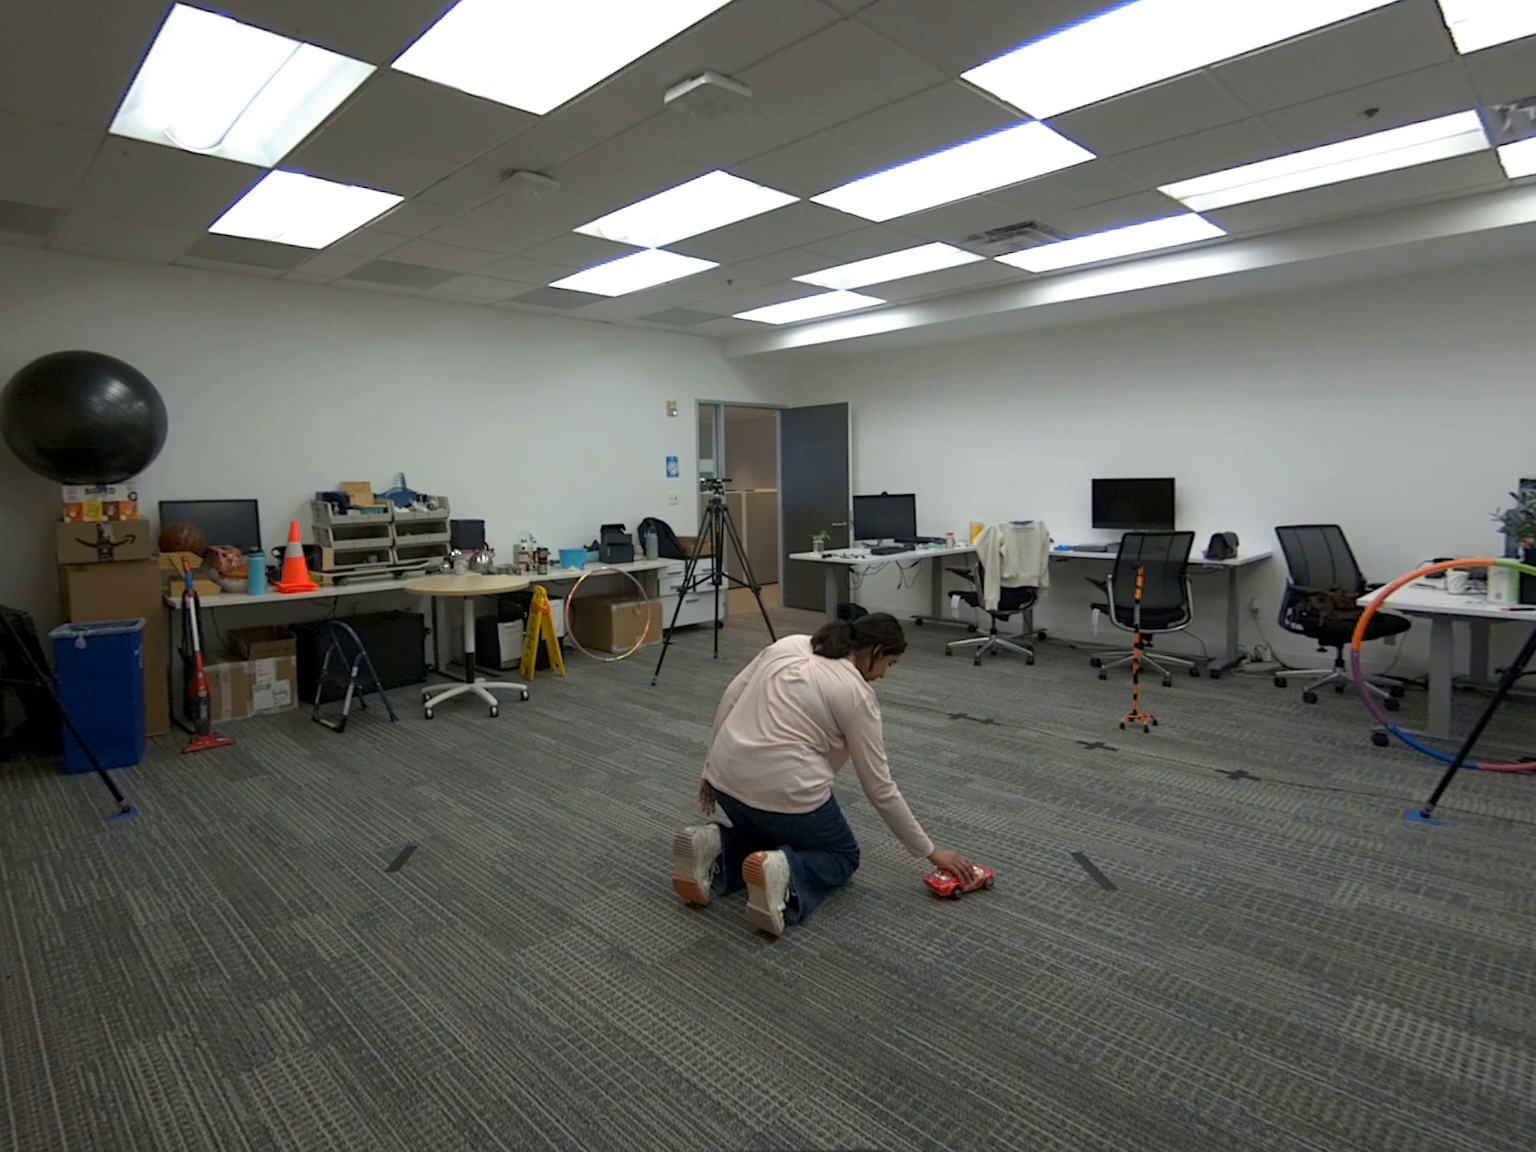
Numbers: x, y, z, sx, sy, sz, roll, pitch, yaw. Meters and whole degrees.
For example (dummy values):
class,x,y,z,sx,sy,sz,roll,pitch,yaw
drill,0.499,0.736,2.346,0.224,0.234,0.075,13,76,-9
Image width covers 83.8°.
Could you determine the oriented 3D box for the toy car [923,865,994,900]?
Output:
class,x,y,z,sx,sy,sz,roll,pitch,yaw
toy car,0.636,1.020,2.871,0.248,0.083,0.134,8,1,-28
